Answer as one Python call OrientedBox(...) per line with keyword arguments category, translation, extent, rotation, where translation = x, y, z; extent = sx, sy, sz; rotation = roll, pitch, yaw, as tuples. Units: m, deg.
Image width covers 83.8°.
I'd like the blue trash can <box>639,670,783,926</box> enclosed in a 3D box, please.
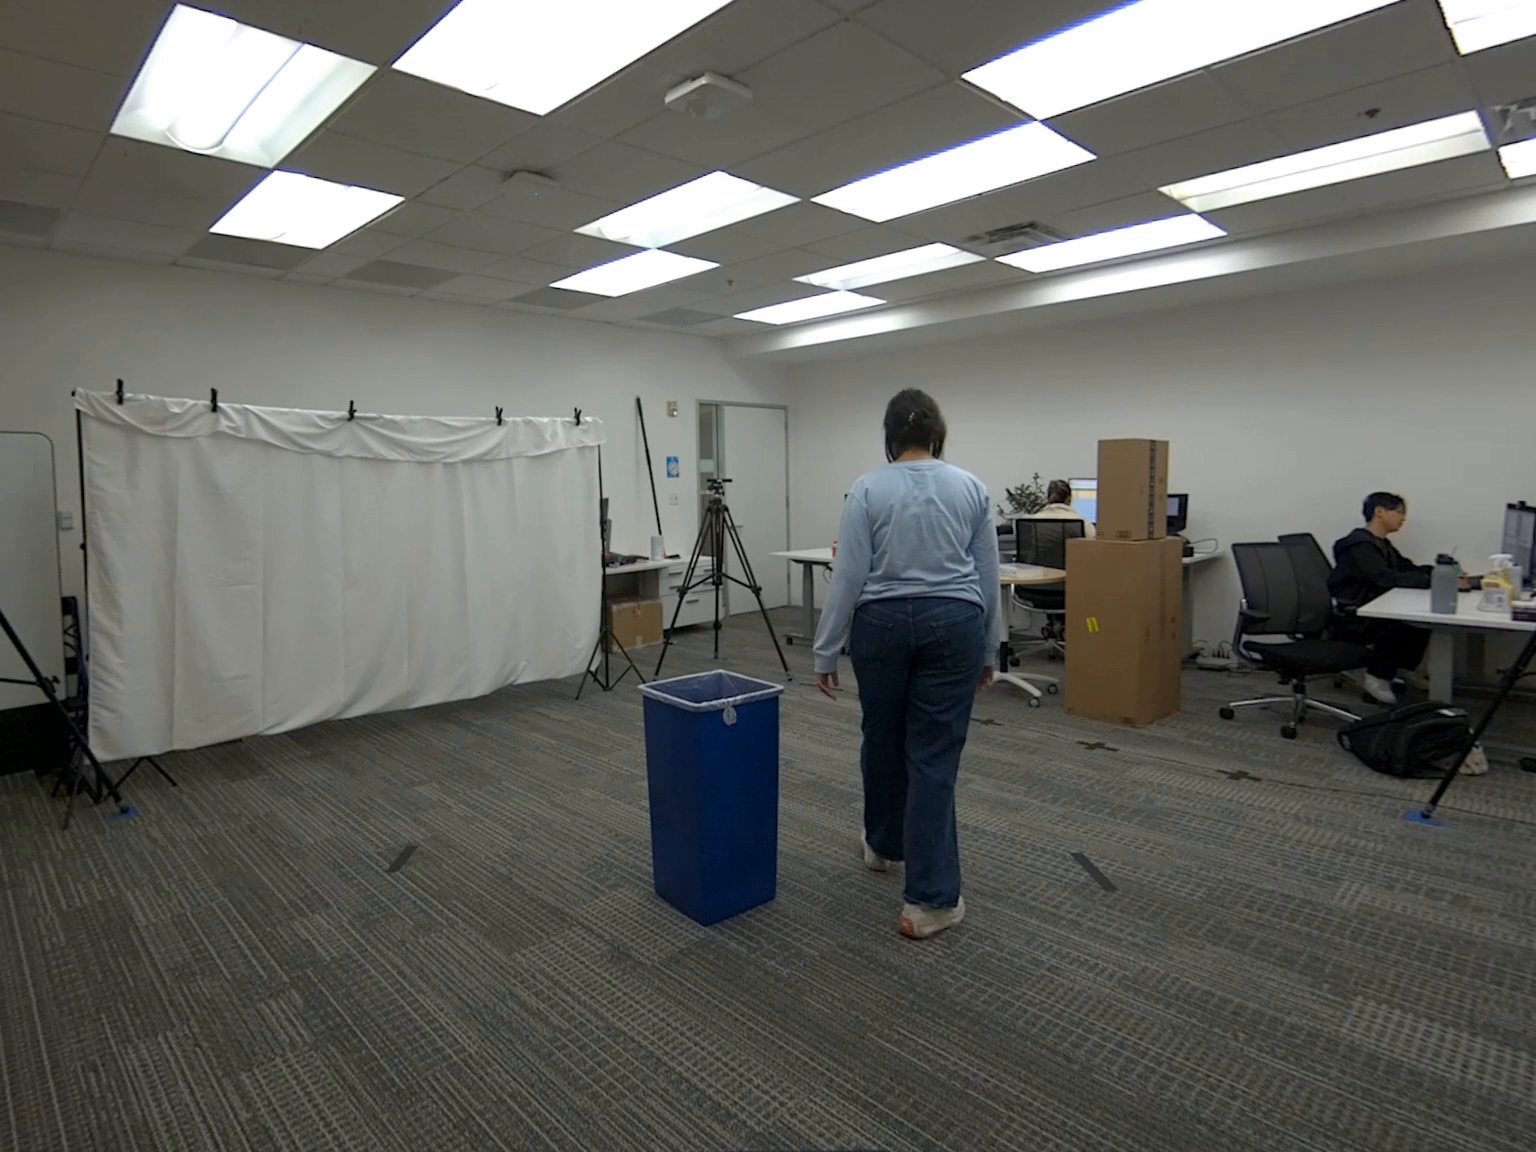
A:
OrientedBox(category="blue trash can", translation=(-0.187, 0.719, 2.857), extent=(0.368, 0.711, 0.385), rotation=(-4, 5, -39))
